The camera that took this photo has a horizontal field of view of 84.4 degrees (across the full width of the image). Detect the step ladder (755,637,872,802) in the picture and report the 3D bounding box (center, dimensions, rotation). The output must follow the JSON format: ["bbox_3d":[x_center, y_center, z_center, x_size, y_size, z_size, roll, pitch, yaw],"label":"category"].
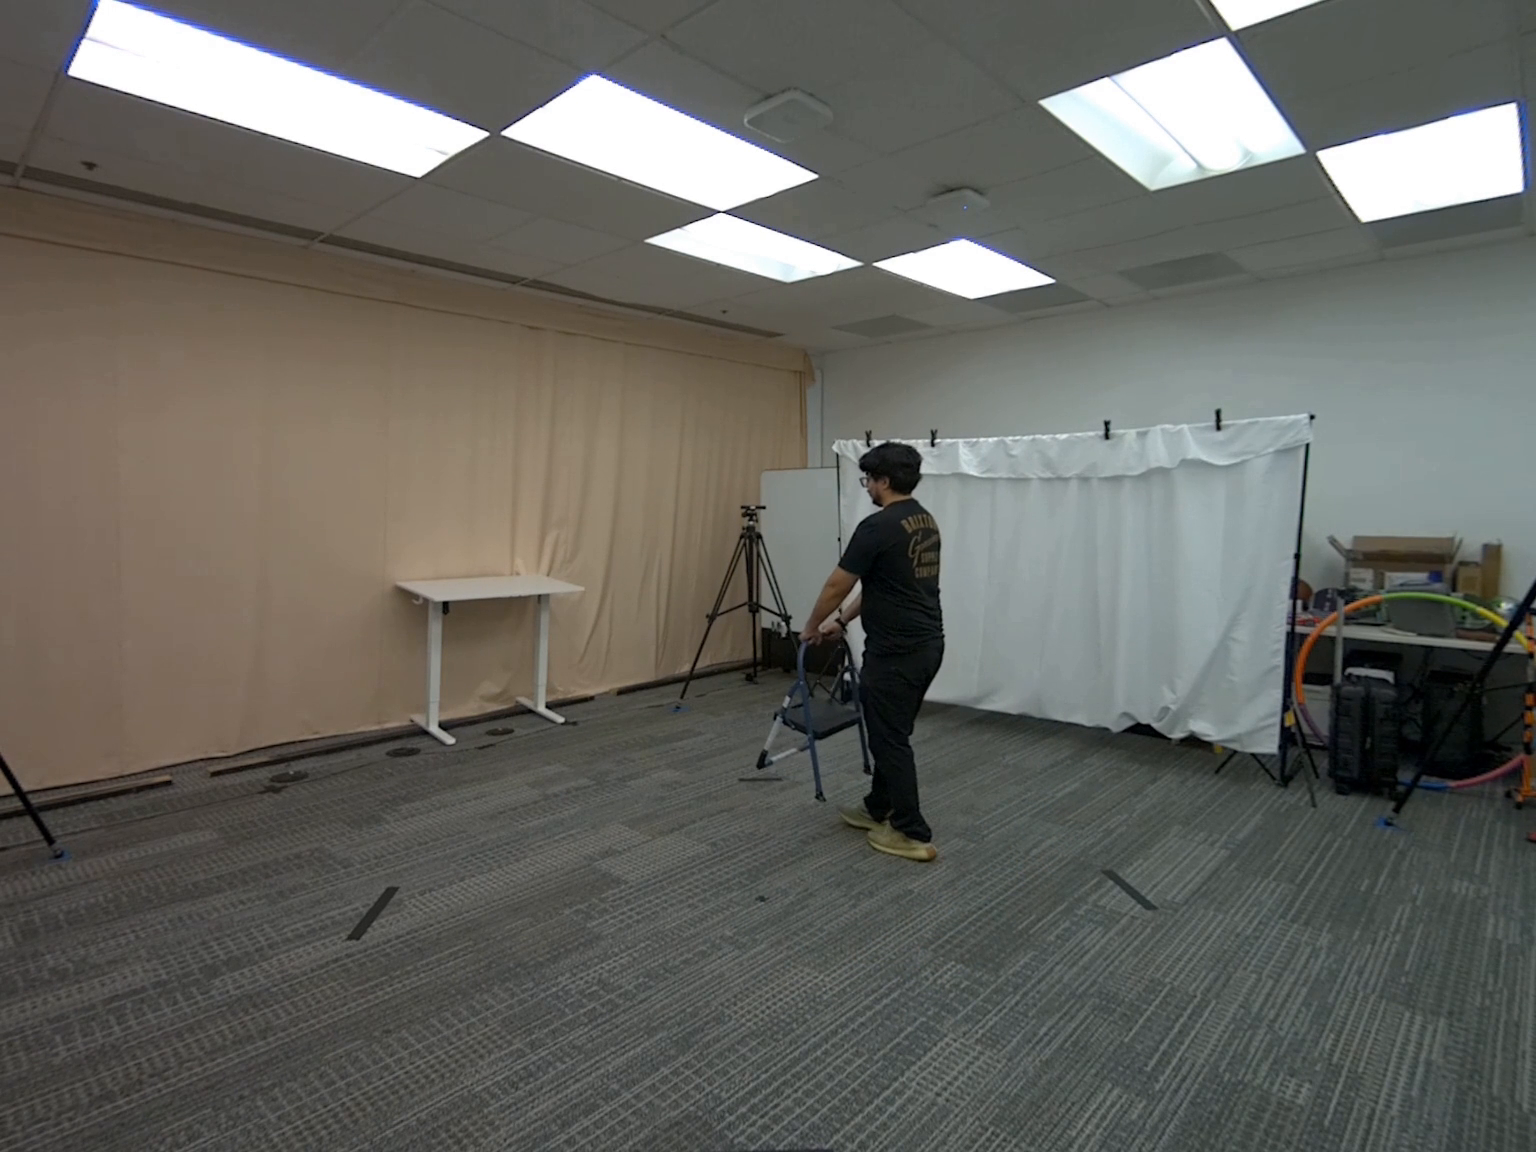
[{"bbox_3d":[0.249,0.558,3.593,0.361,0.603,0.418,17,14,35],"label":"step ladder"}]
